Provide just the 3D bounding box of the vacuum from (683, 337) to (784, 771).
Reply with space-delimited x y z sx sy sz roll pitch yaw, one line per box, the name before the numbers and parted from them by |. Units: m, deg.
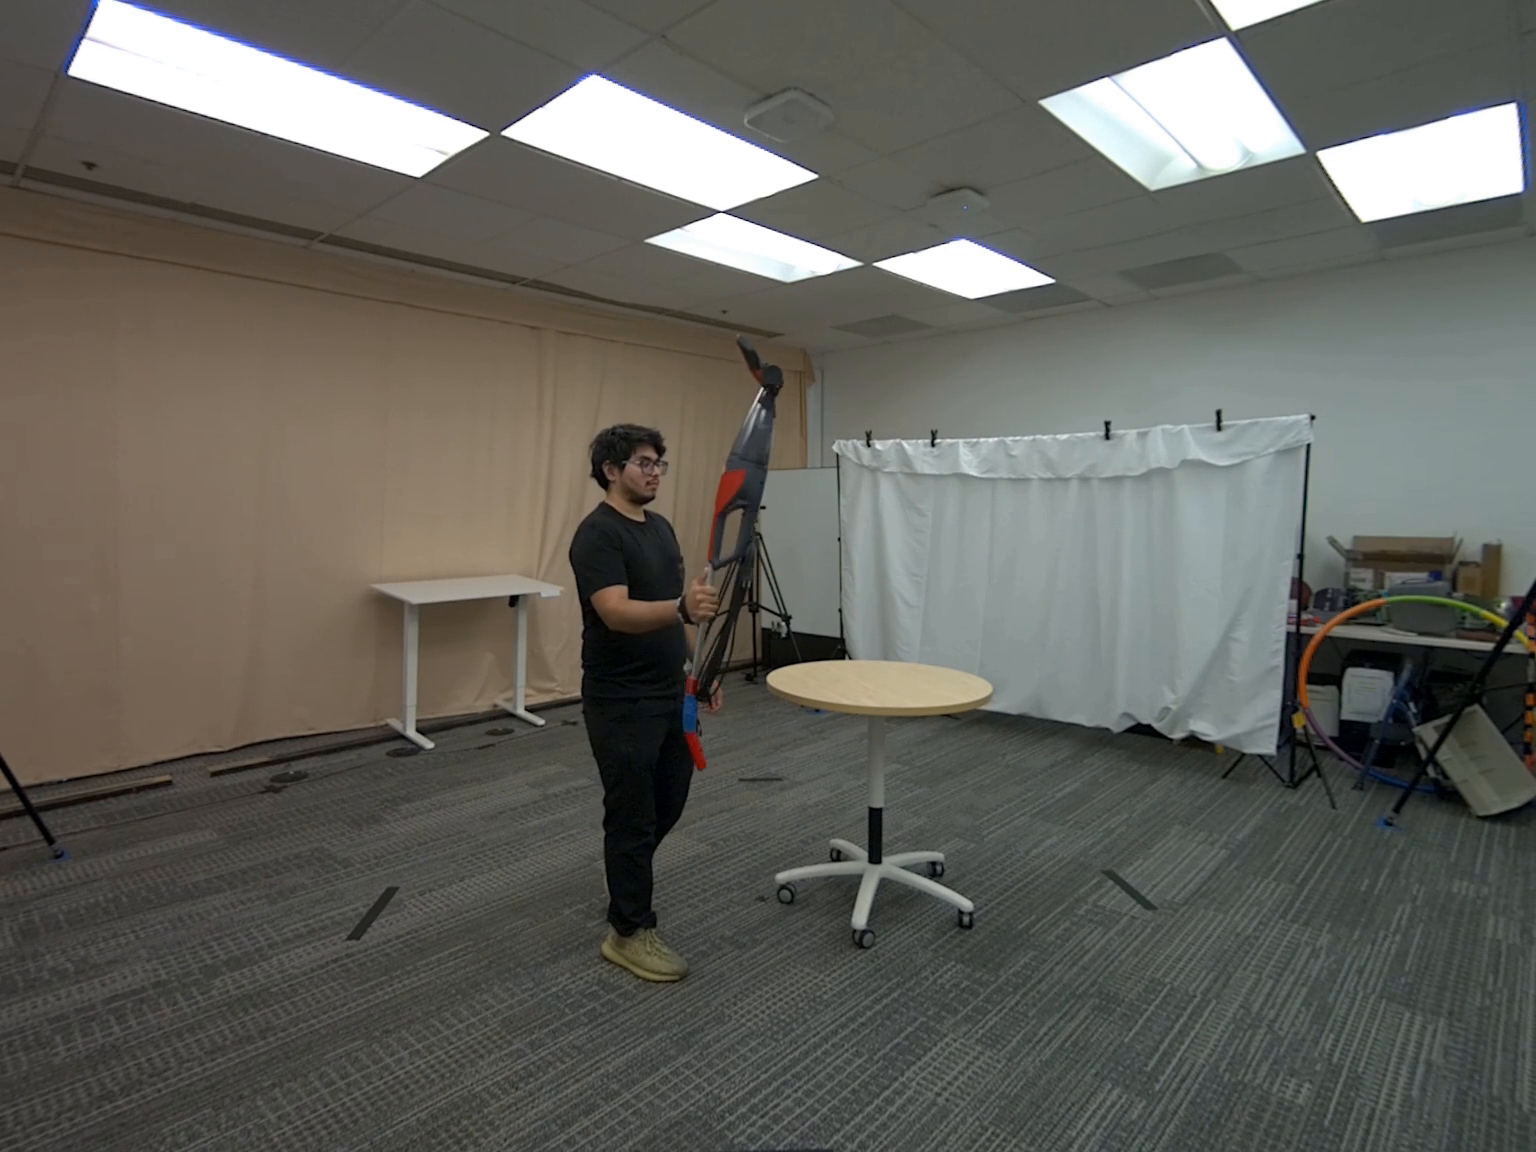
vacuum | -0.095 -0.028 2.149 0.145 1.047 0.251 8 5 4
